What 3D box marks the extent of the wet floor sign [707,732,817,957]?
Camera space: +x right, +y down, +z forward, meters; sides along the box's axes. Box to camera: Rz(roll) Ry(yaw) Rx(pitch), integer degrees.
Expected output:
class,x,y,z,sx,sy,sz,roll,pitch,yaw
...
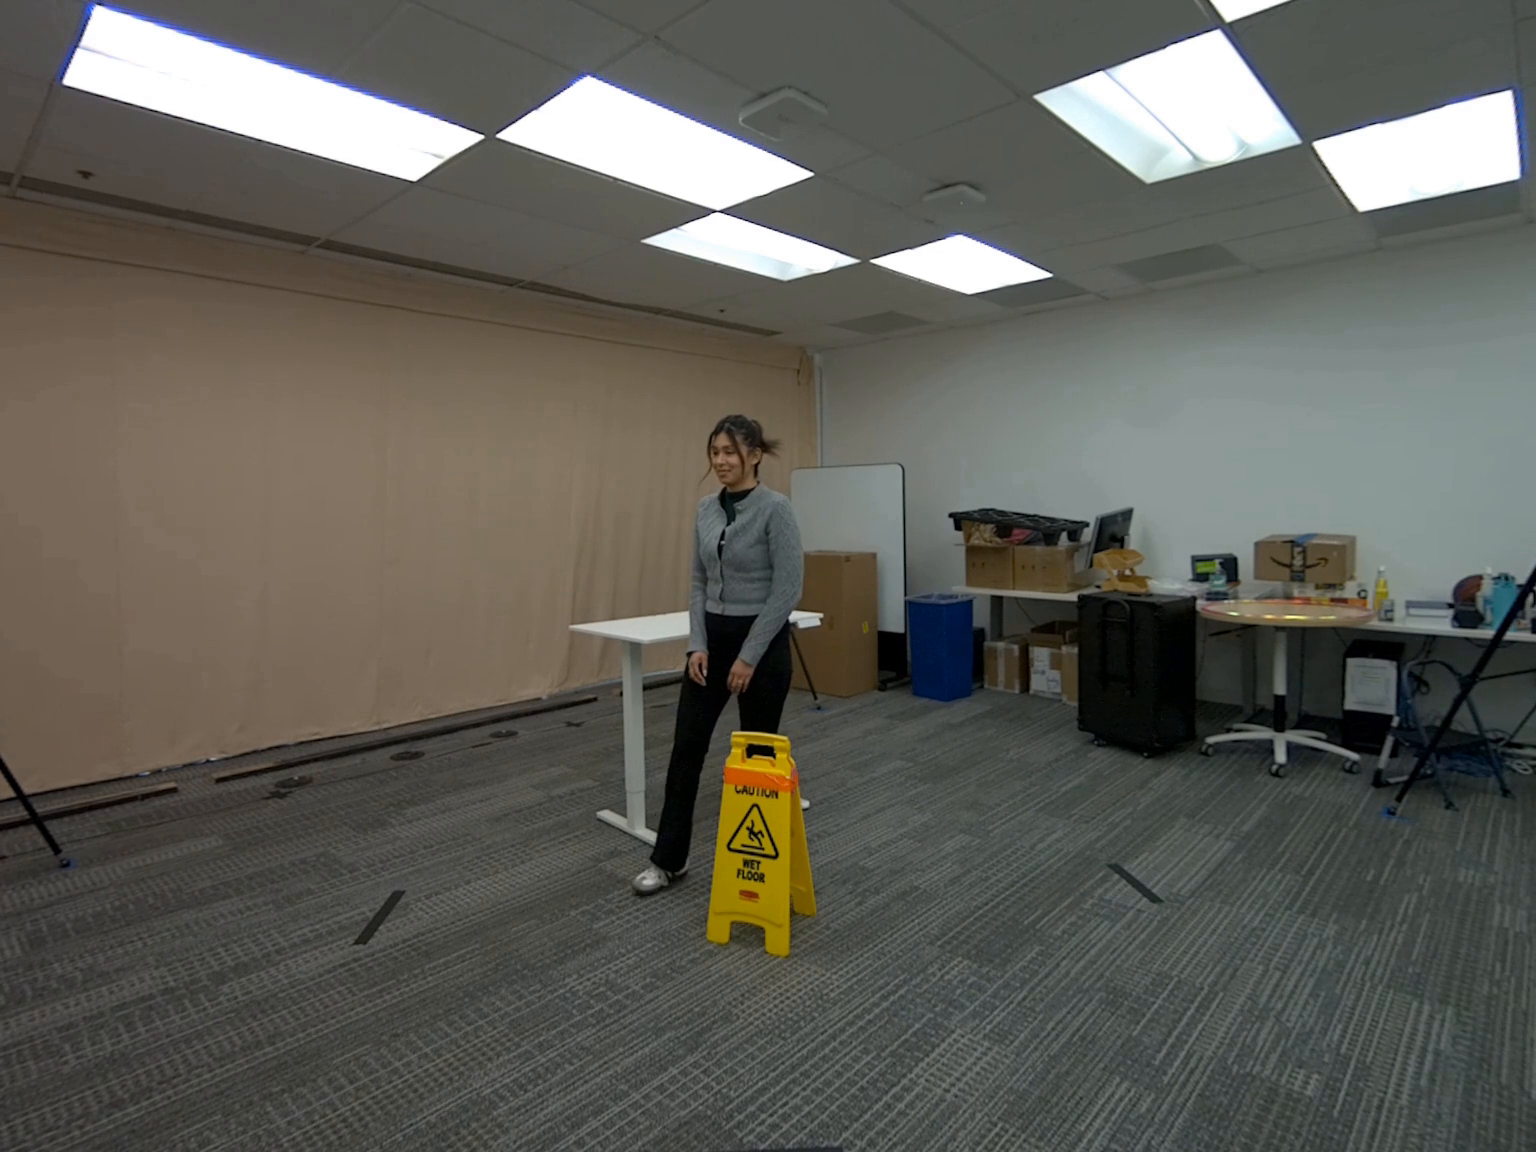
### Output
class,x,y,z,sx,sy,sz,roll,pitch,yaw
wet floor sign,-0.020,0.831,2.757,0.289,0.645,0.283,-1,3,23
